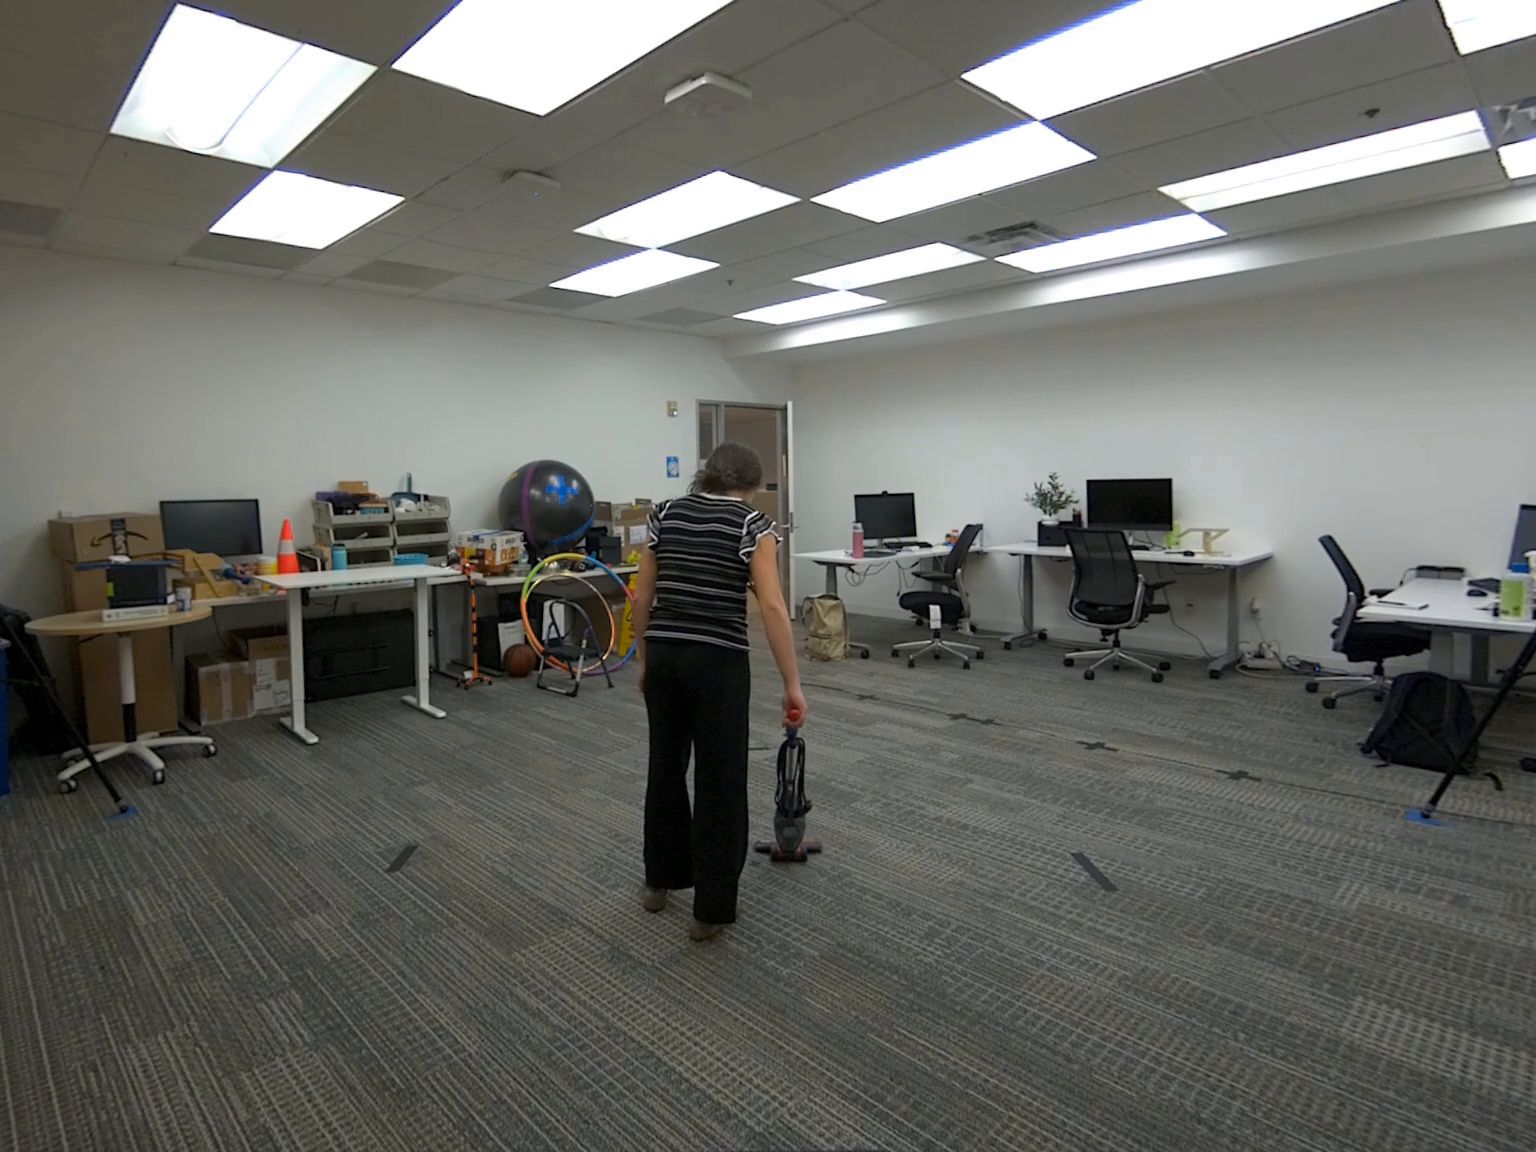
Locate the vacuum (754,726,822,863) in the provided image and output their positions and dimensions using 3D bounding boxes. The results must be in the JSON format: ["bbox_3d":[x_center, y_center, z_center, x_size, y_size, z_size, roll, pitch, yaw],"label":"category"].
[{"bbox_3d":[0.079,0.711,2.794,0.253,0.148,1.021,1,-38,1],"label":"vacuum"}]
